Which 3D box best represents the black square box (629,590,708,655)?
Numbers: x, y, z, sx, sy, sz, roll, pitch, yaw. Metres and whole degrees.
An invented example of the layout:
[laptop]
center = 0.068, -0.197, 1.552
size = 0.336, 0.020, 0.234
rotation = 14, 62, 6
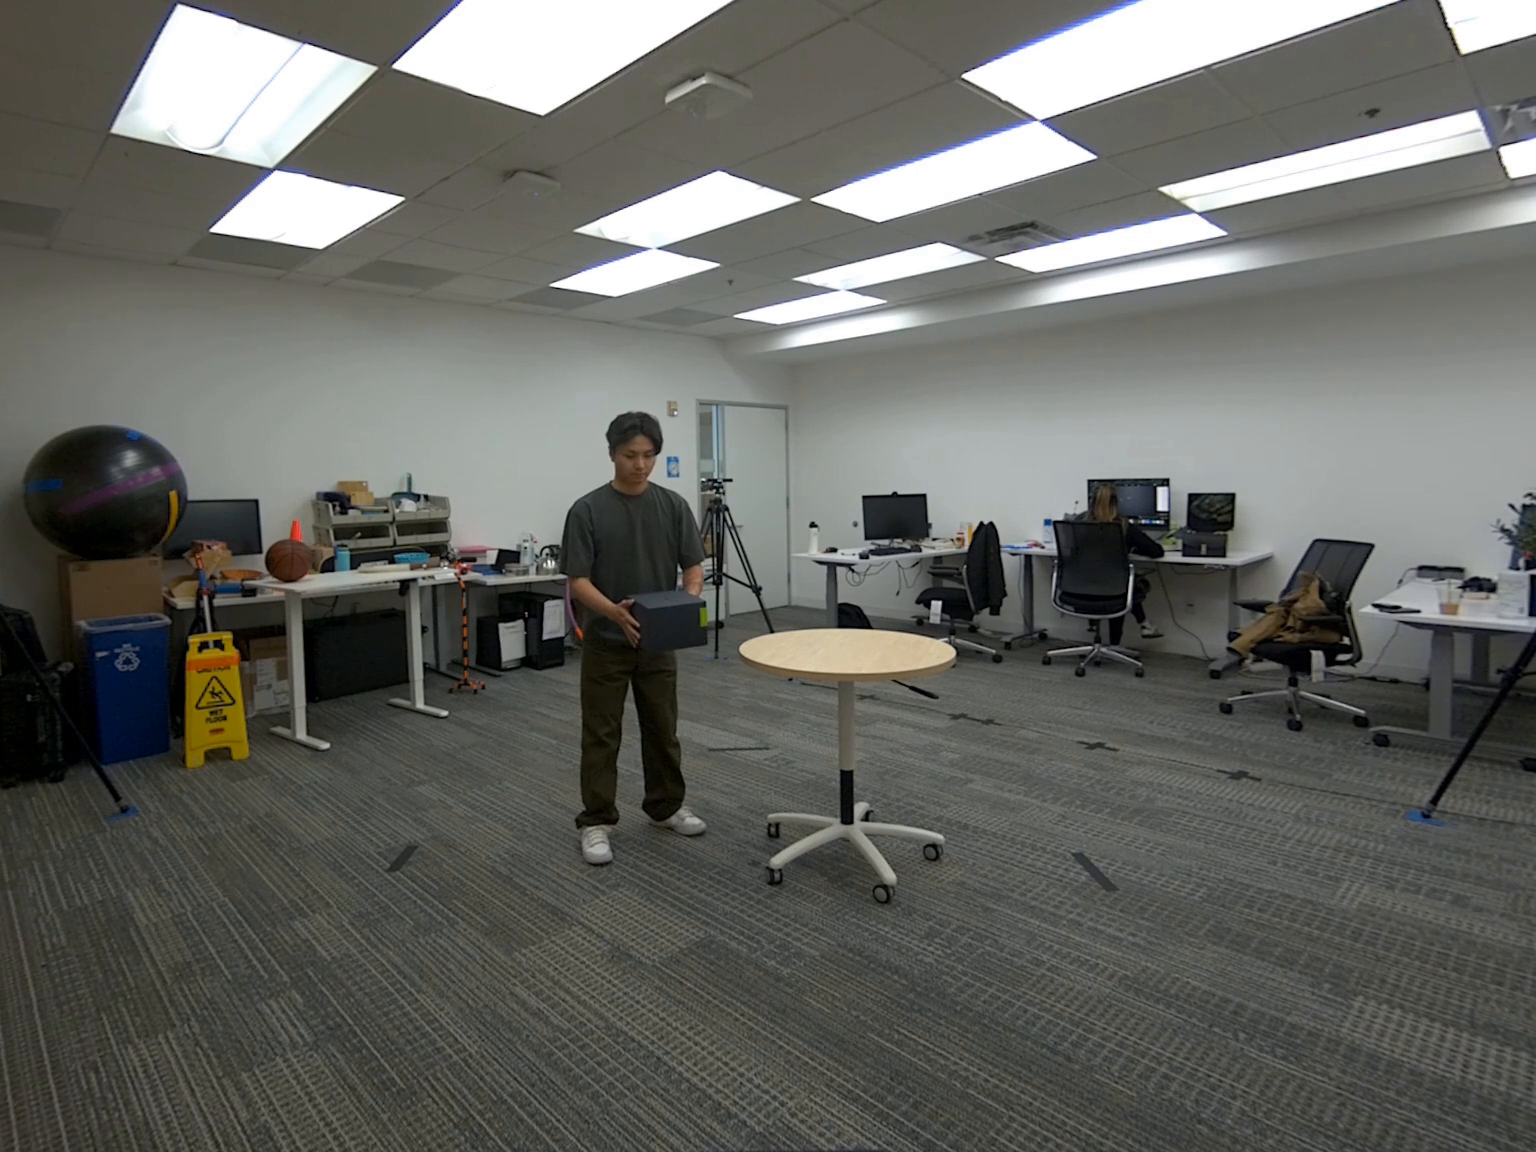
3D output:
[black square box]
center = -0.350, 0.156, 2.961
size = 0.212, 0.155, 0.234
rotation = -6, 11, -27
